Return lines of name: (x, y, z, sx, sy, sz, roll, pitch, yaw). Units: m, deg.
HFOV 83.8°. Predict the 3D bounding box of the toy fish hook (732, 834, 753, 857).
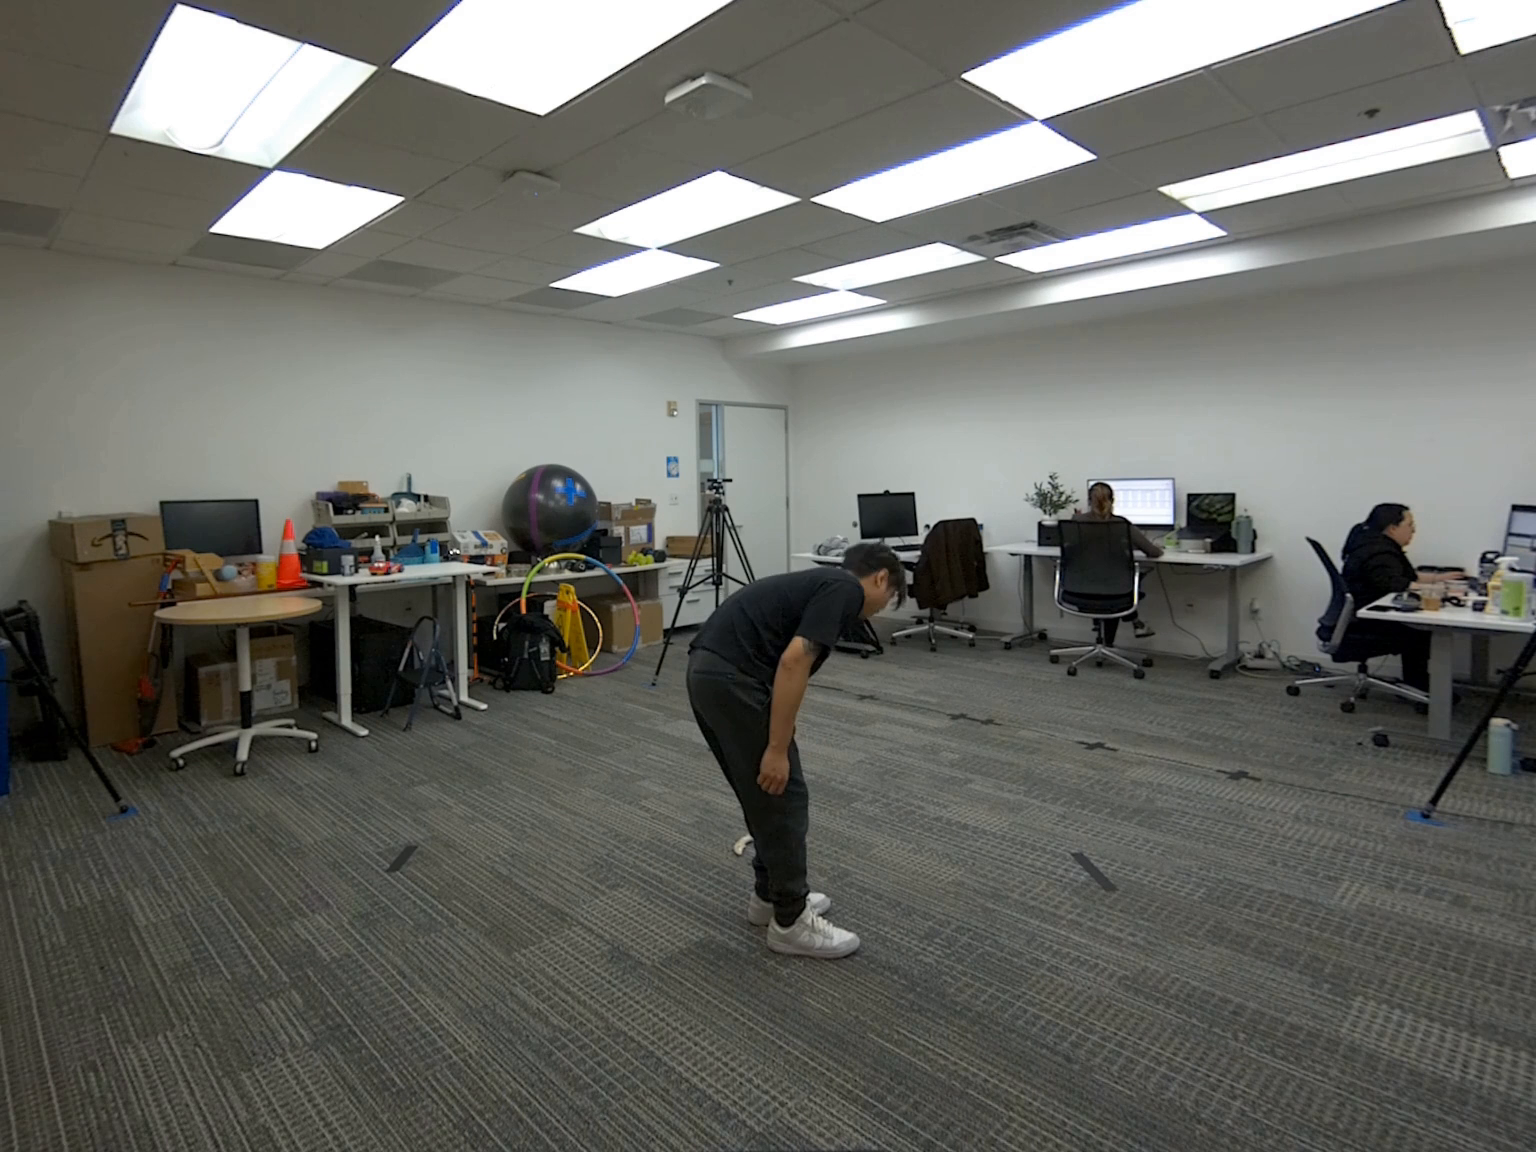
toy fish hook: (-0.018, 1.033, 3.094, 0.226, 0.048, 0.505, -8, 5, 7)
